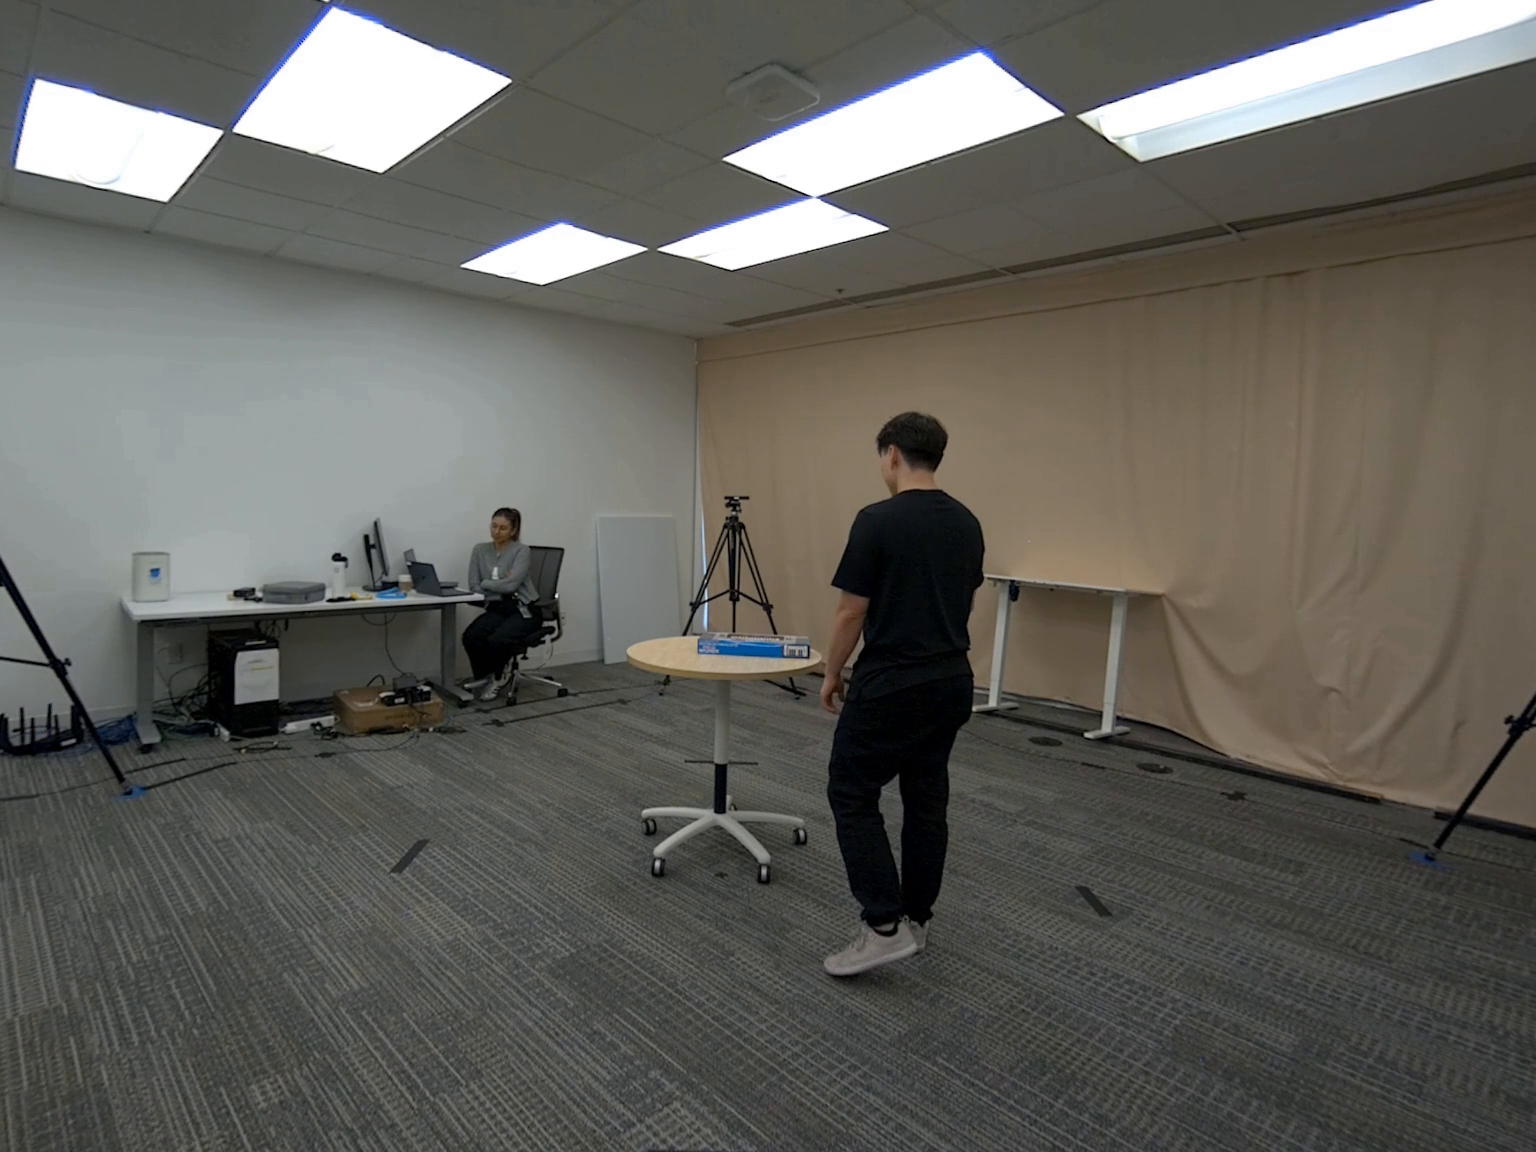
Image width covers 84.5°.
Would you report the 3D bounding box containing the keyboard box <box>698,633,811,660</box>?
[{"bbox_3d":[-0.056,0.272,3.331,0.439,0.059,0.176,2,5,5],"label":"keyboard box"}]
